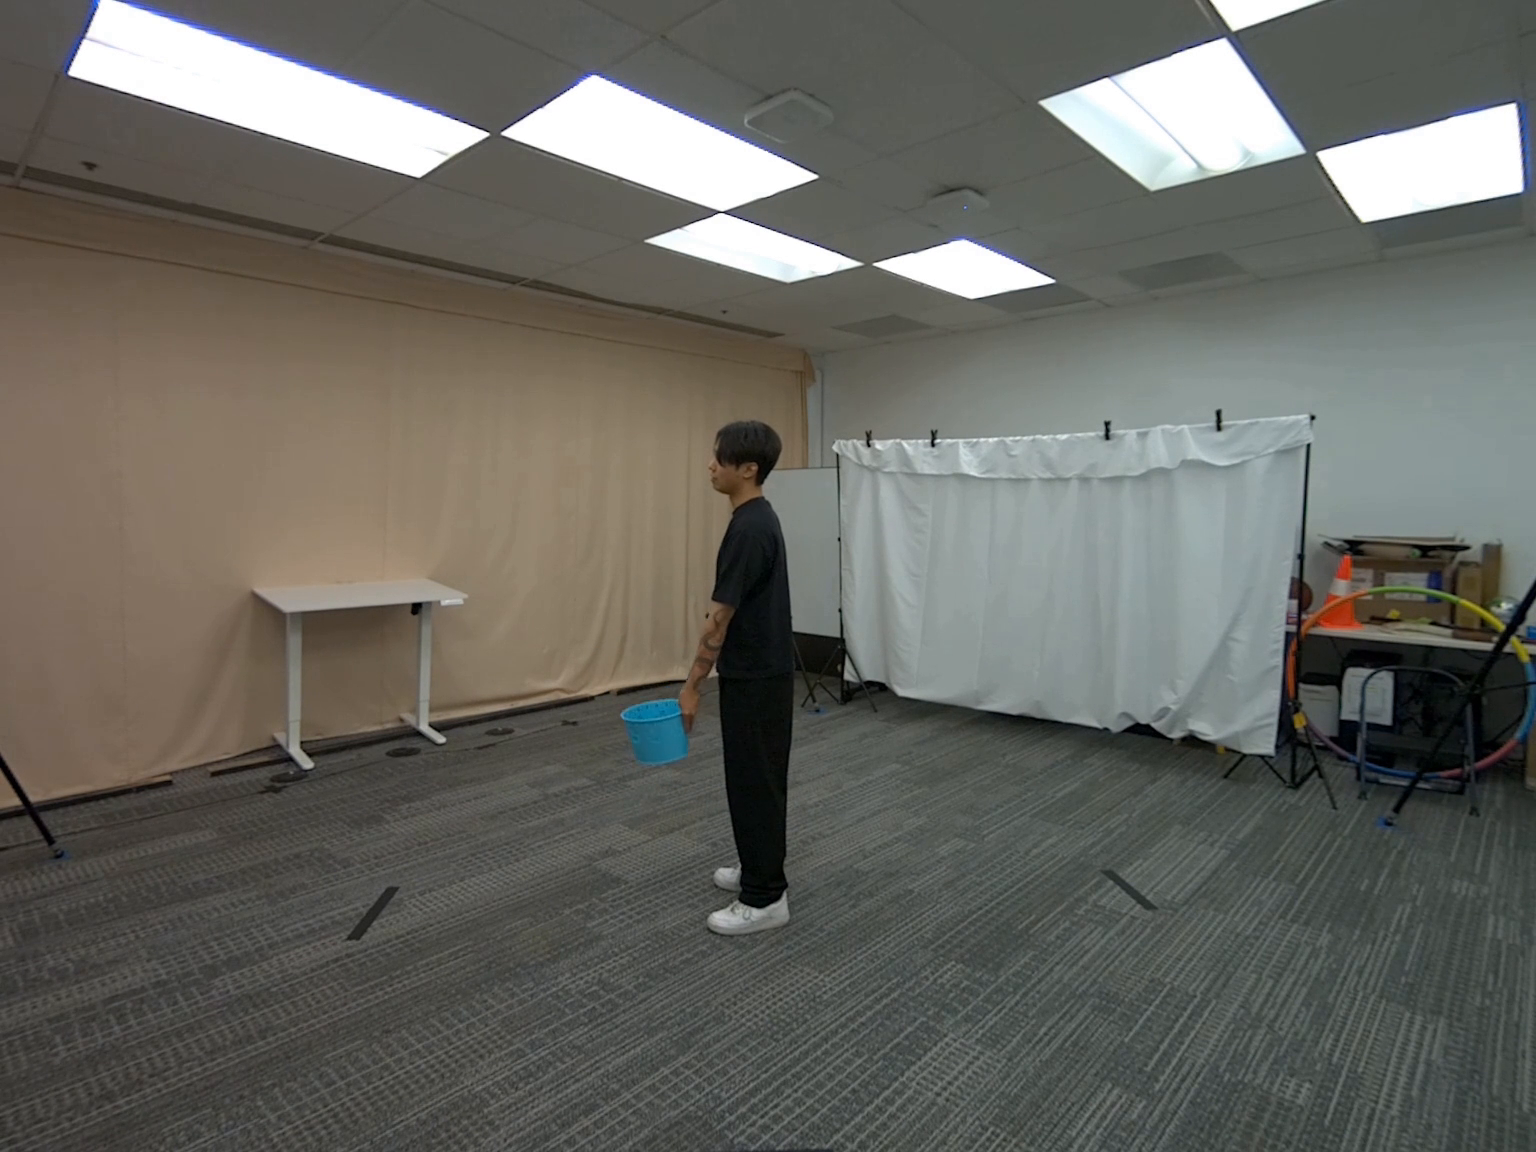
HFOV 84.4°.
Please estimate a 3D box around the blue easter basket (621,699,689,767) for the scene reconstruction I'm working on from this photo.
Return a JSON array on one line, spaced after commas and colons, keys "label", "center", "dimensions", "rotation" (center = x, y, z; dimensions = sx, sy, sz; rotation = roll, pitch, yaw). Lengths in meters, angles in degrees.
[{"label": "blue easter basket", "center": [-0.346, 0.509, 2.764], "dimensions": [0.243, 0.155, 0.245], "rotation": [-7, 7, -1]}]
